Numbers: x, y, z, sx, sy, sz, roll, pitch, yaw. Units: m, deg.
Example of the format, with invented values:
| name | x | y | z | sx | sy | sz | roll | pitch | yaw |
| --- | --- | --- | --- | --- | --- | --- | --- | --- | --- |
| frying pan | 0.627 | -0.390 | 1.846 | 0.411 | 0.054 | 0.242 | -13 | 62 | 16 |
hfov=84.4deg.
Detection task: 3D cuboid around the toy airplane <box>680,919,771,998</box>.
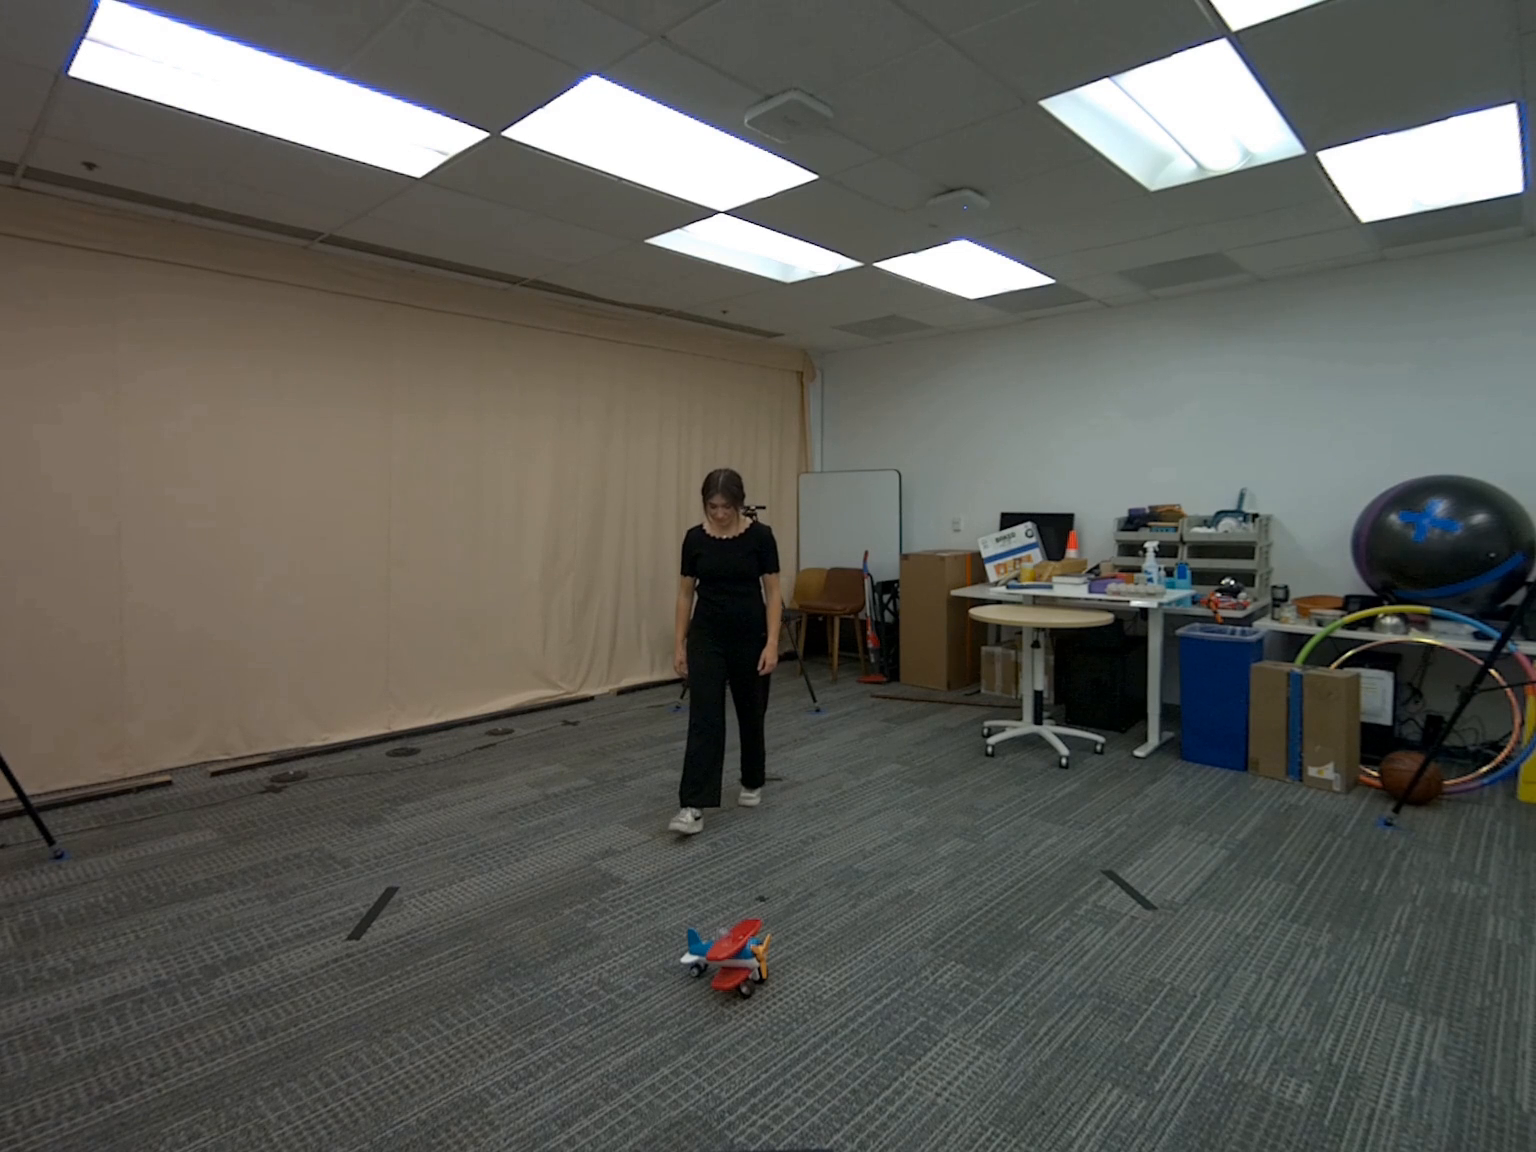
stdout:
| name | x | y | z | sx | sy | sz | roll | pitch | yaw |
| --- | --- | --- | --- | --- | --- | --- | --- | --- | --- |
| toy airplane | -0.129 | 1.109 | 2.439 | 0.259 | 0.156 | 0.251 | 1 | 4 | 0 |
